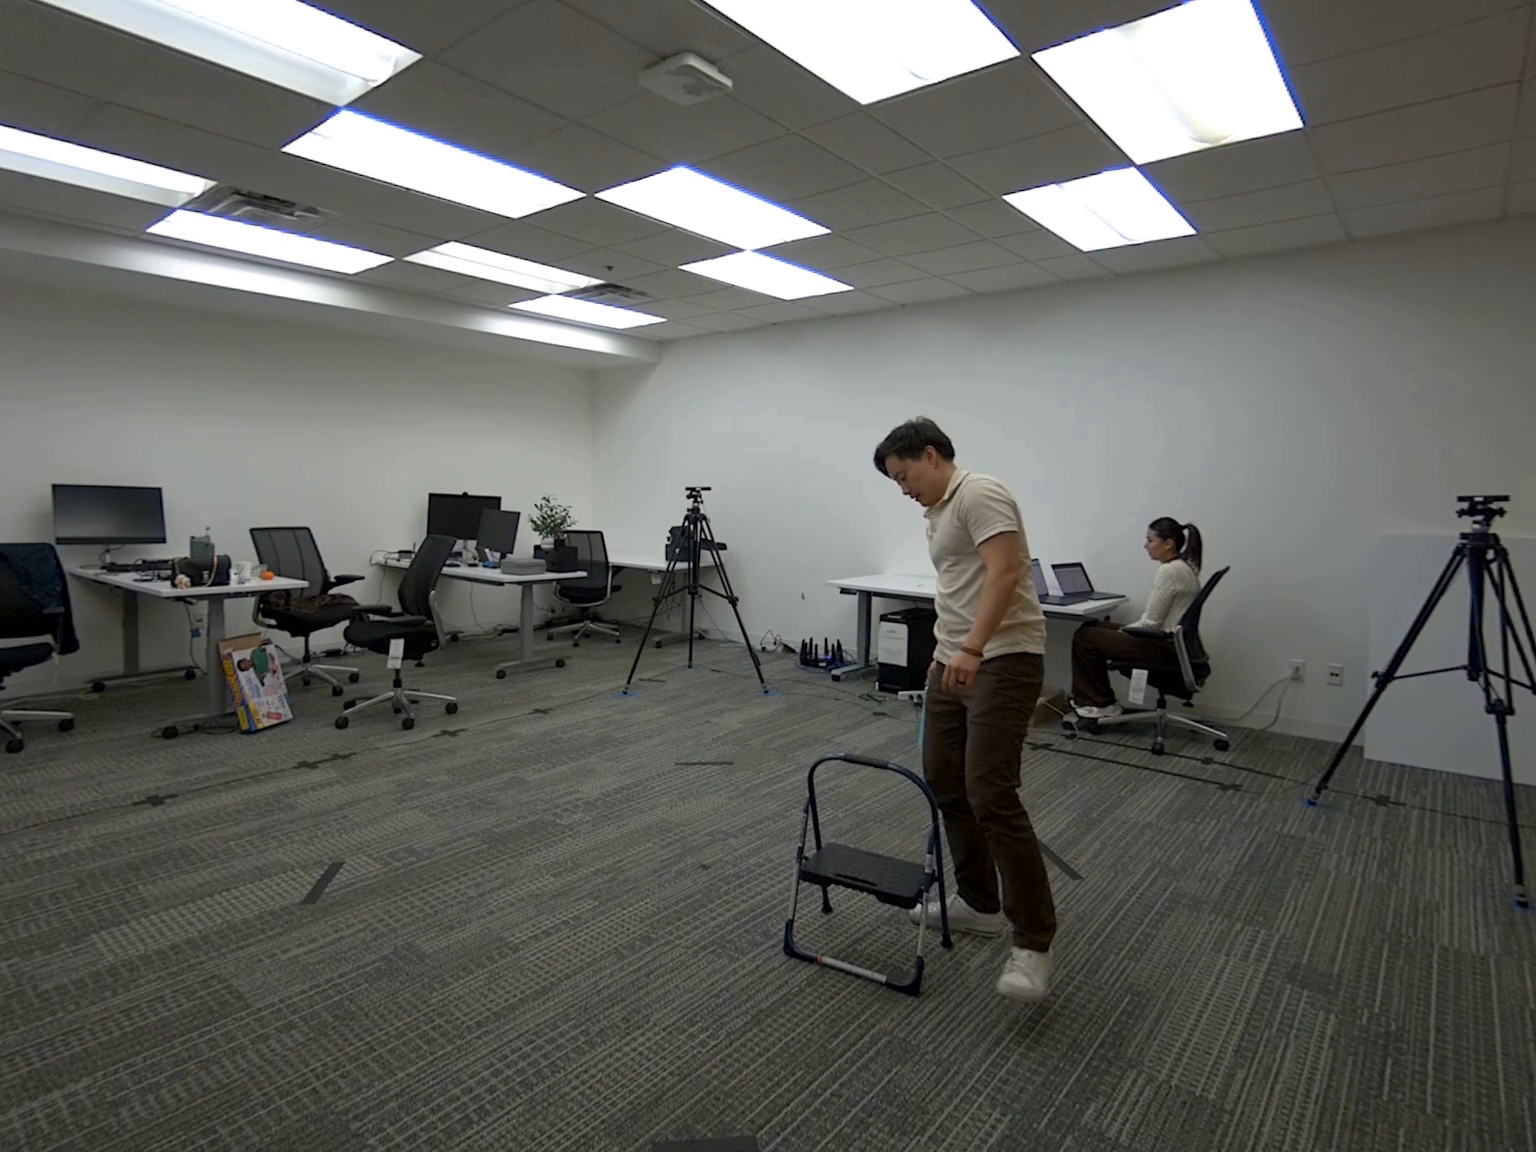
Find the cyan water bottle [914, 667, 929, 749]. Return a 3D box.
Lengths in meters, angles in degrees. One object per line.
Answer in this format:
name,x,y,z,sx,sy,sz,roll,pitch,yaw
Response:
cyan water bottle,0.602,0.484,3.091,0.092,0.284,0.092,4,-4,-2
